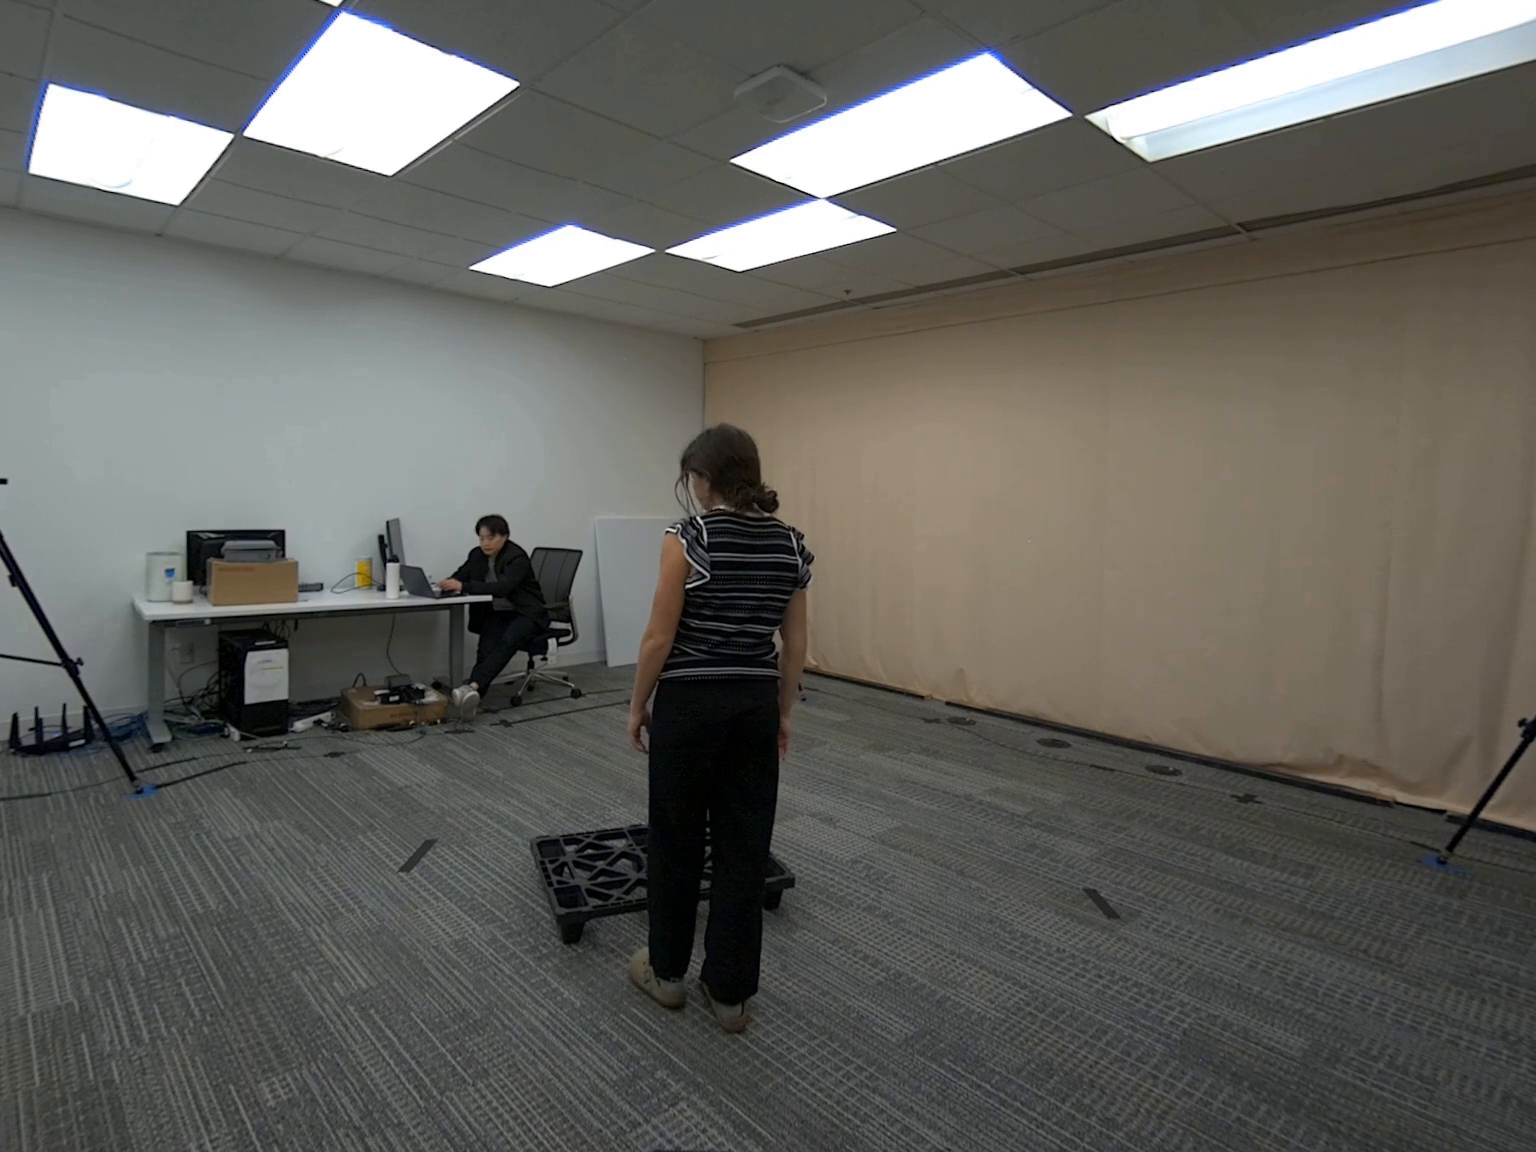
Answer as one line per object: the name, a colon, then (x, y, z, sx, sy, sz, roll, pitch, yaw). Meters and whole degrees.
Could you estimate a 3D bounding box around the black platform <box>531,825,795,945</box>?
black platform: (-0.400, 1.050, 2.946, 0.792, 0.143, 0.617, 0, 5, -22)
